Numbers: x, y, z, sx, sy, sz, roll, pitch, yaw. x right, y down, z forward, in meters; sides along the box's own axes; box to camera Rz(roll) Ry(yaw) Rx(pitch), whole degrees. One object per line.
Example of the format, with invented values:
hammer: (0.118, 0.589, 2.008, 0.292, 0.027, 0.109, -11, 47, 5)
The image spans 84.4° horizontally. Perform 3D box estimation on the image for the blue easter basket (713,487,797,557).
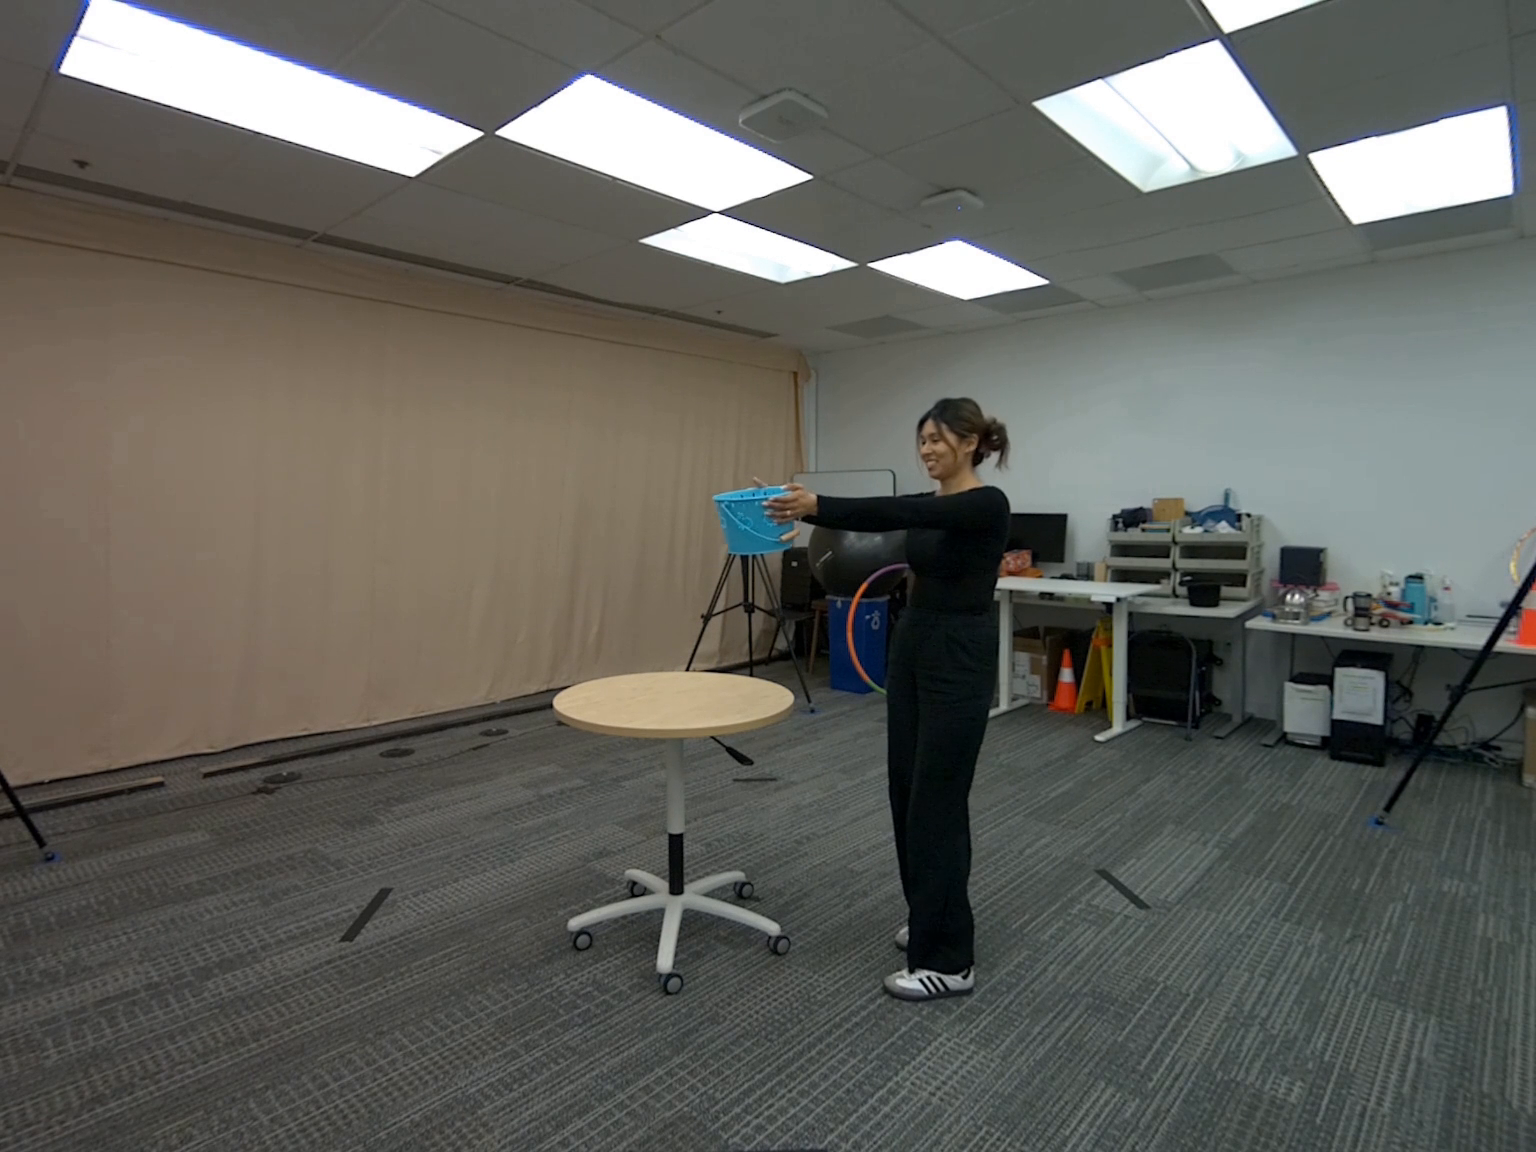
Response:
blue easter basket: (-0.014, -0.150, 2.290, 0.243, 0.155, 0.245, -6, 10, -1)
